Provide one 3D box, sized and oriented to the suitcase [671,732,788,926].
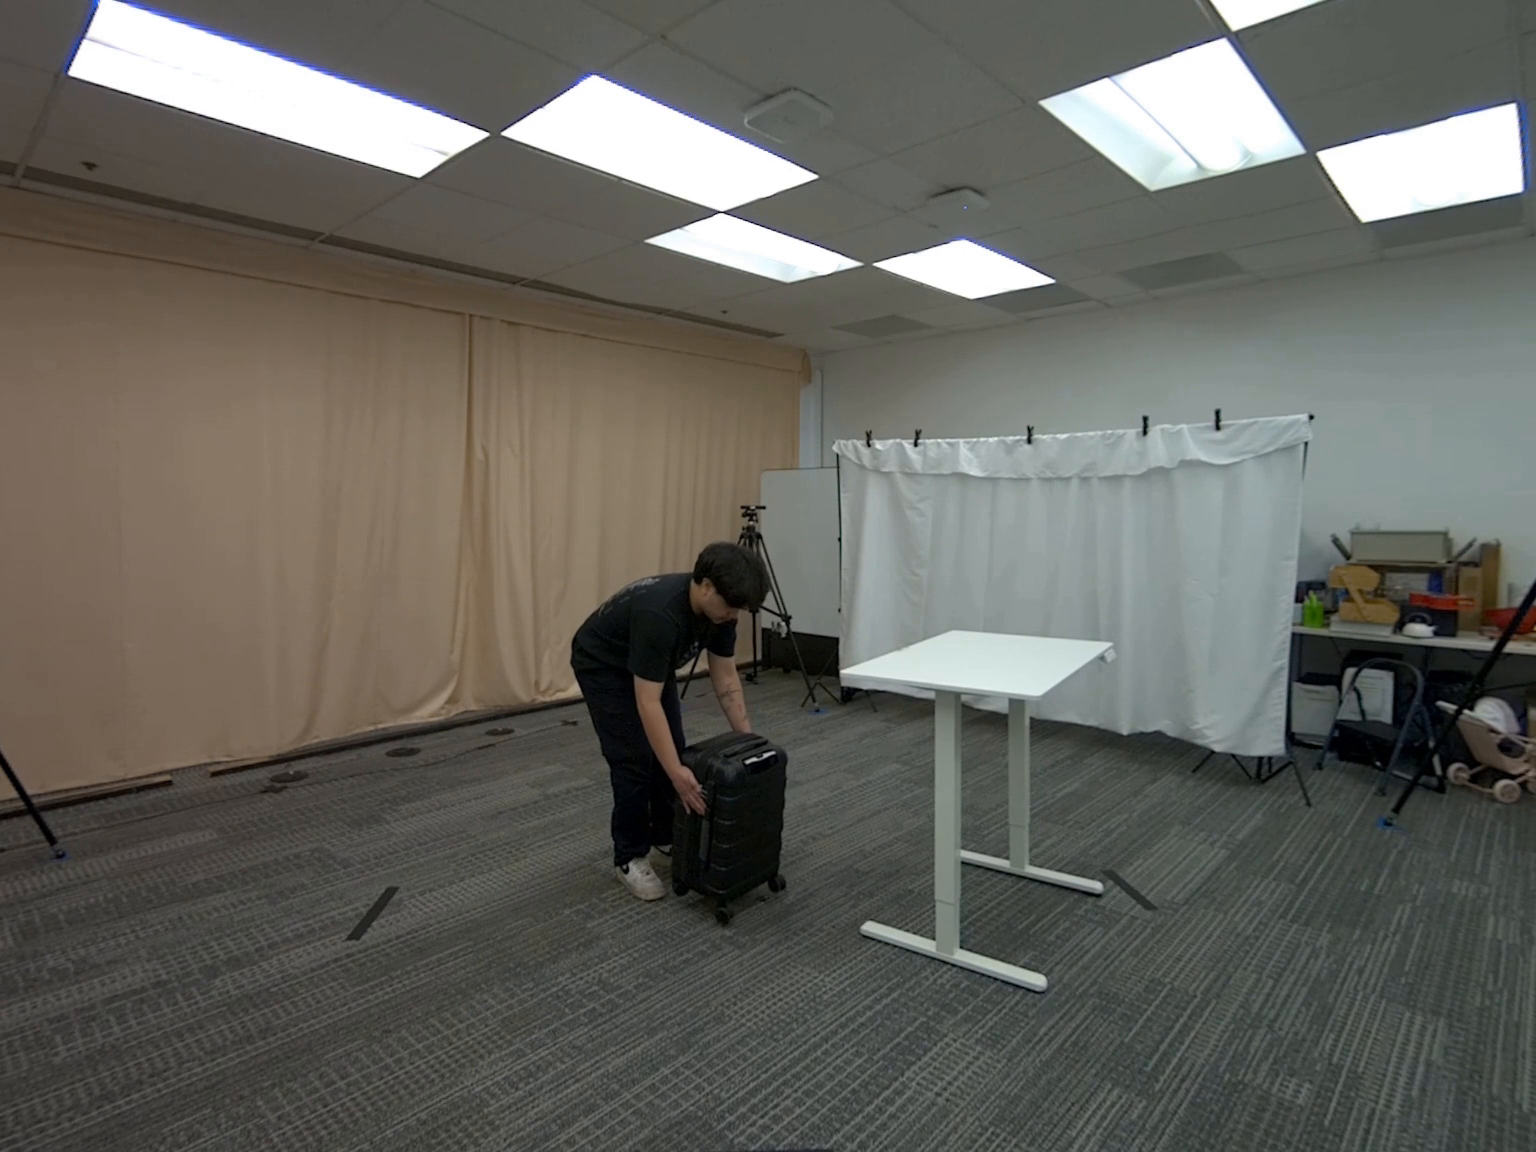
[{"bbox_3d":[-0.128,0.843,2.924,0.257,0.547,0.364,9,10,41],"label":"suitcase"}]
